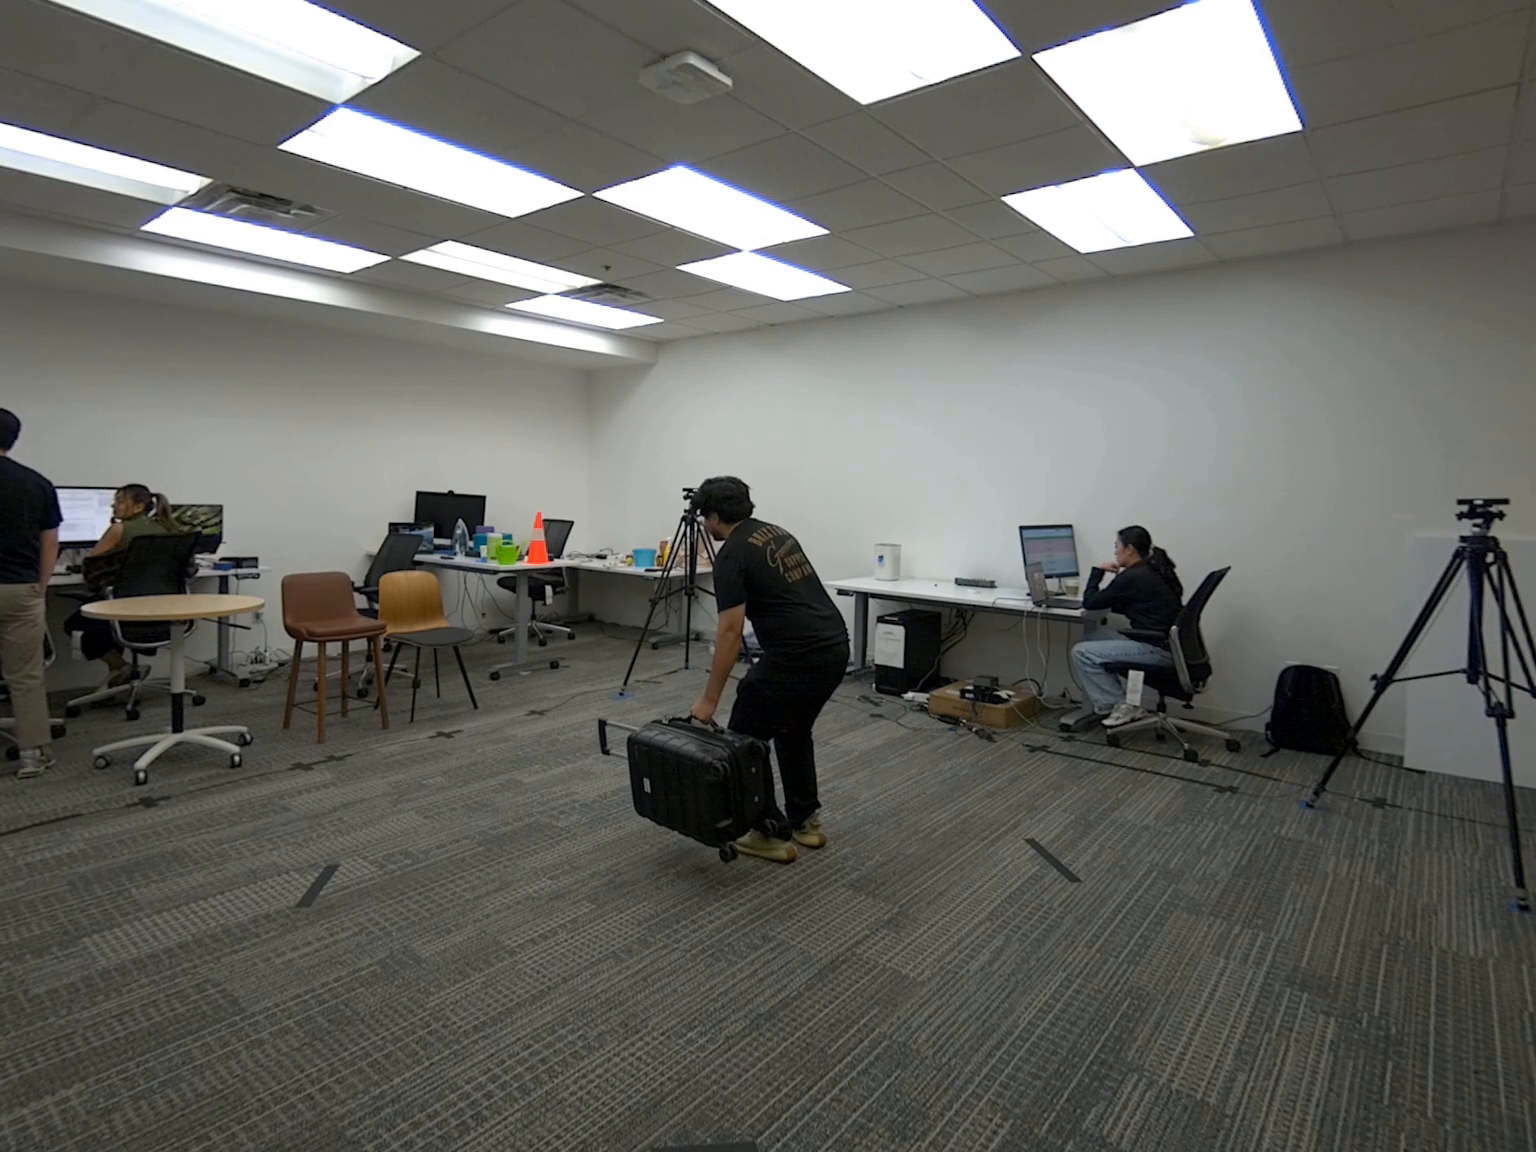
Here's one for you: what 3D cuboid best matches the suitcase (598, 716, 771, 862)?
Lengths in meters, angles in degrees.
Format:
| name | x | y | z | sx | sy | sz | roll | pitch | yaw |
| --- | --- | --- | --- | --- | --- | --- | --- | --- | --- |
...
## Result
| name | x | y | z | sx | sy | sz | roll | pitch | yaw |
| --- | --- | --- | --- | --- | --- | --- | --- | --- | --- |
| suitcase | -0.430 | 0.724 | 3.243 | 1.012 | 0.381 | 0.251 | 4 | 12 | 42 |
